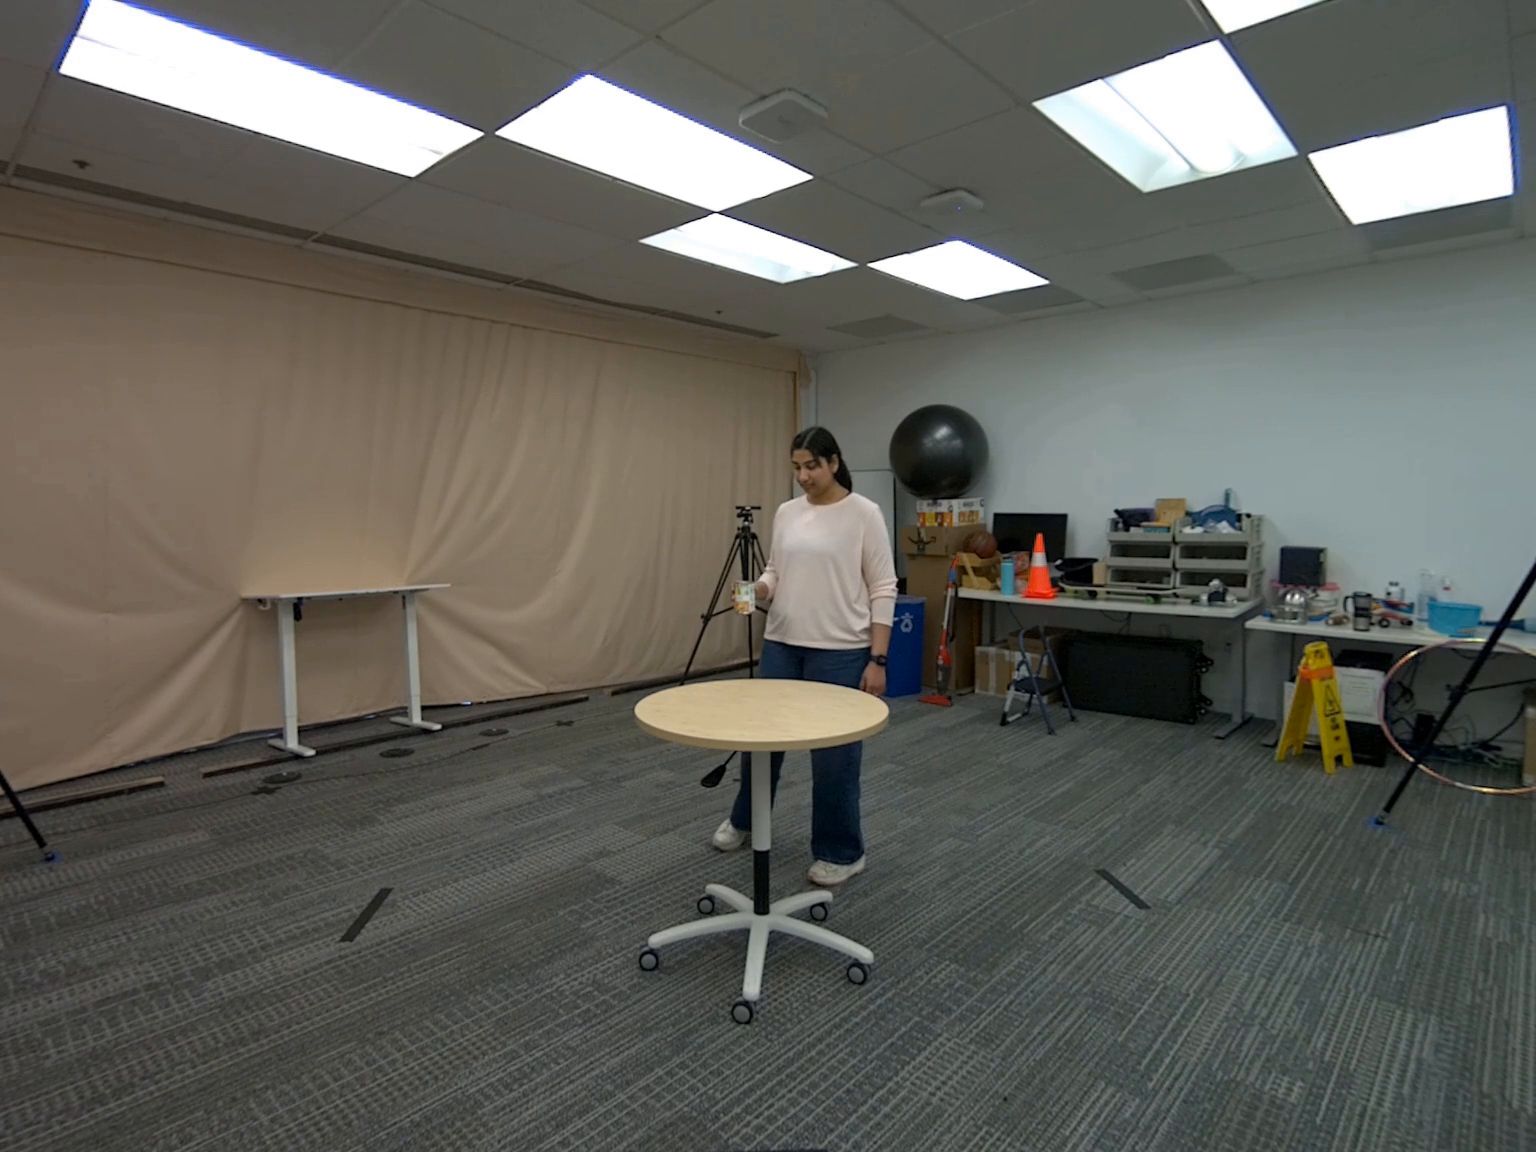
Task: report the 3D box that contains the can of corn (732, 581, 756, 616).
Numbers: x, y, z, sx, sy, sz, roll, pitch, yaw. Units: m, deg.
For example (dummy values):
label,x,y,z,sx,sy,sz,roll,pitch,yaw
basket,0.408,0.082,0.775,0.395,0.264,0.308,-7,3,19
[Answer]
label,x,y,z,sx,sy,sz,roll,pitch,yaw
can of corn,-0.082,0.080,3.038,0.074,0.111,0.074,-2,2,-2
